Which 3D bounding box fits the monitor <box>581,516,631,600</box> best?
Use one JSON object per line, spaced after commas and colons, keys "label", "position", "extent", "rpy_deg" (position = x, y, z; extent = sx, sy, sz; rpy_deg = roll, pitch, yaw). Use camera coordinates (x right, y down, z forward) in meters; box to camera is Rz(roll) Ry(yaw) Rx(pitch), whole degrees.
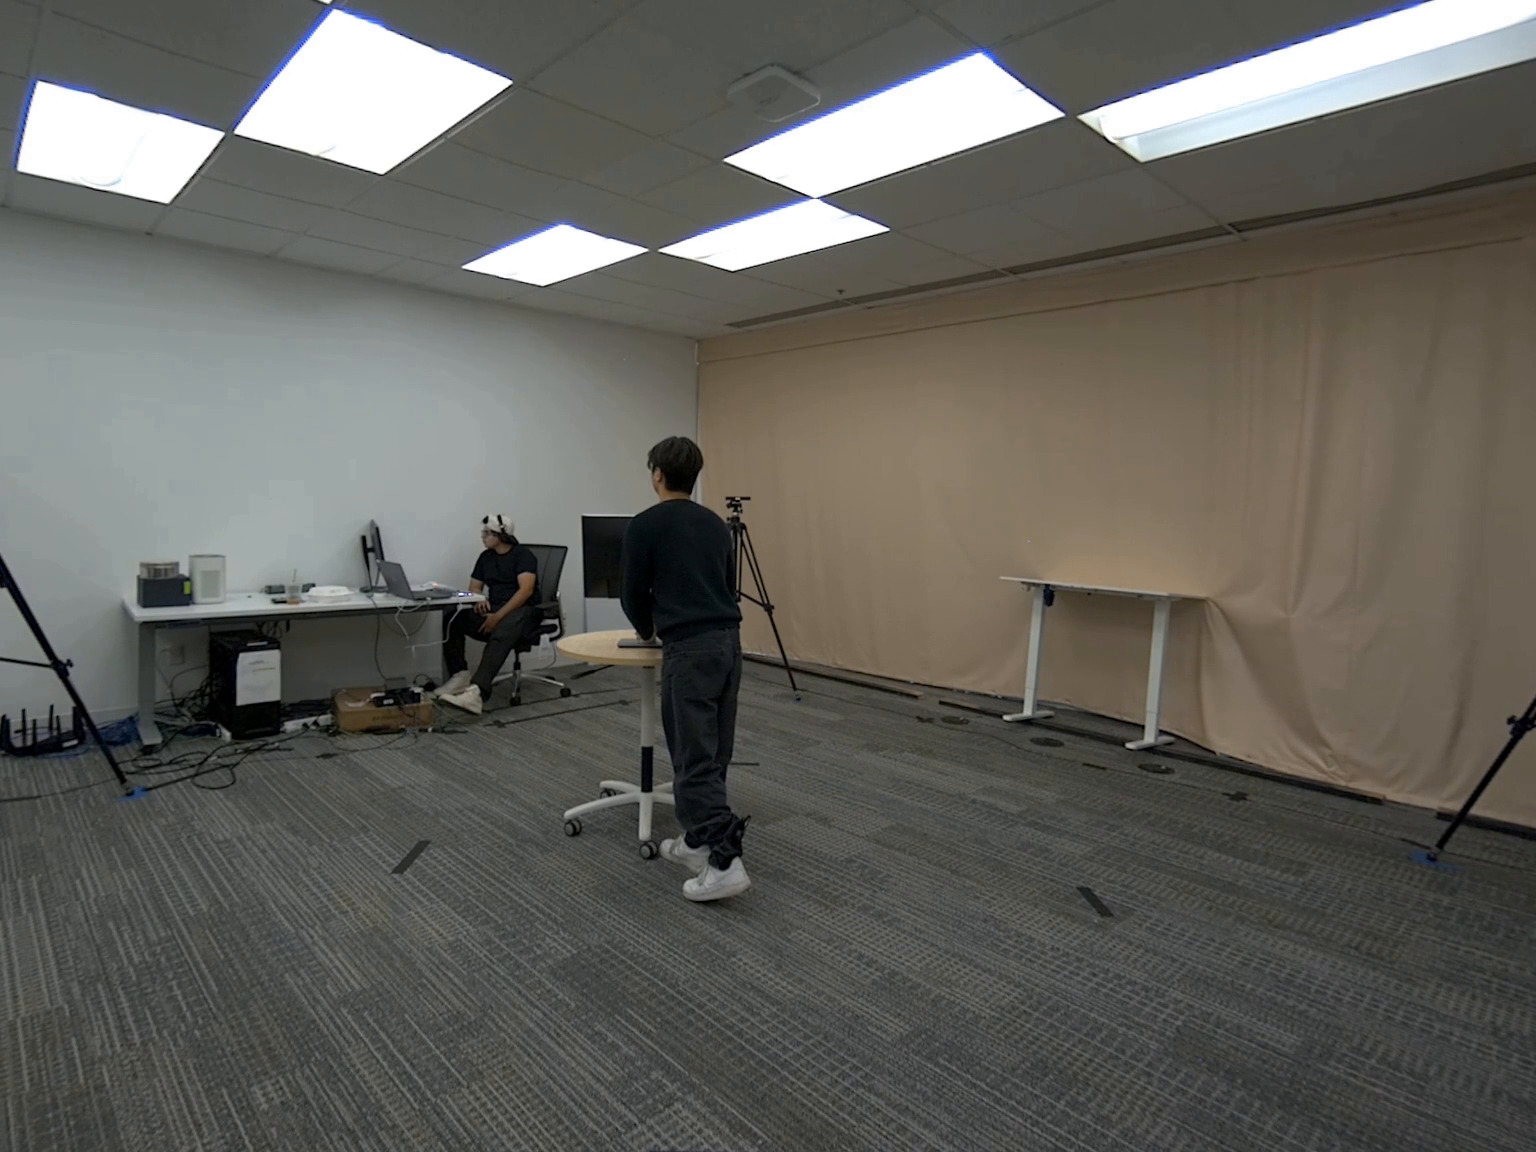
{"label": "monitor", "position": [-0.497, 0.021, 3.498], "extent": [0.528, 0.517, 0.175], "rpy_deg": [-1, -2, -4]}
